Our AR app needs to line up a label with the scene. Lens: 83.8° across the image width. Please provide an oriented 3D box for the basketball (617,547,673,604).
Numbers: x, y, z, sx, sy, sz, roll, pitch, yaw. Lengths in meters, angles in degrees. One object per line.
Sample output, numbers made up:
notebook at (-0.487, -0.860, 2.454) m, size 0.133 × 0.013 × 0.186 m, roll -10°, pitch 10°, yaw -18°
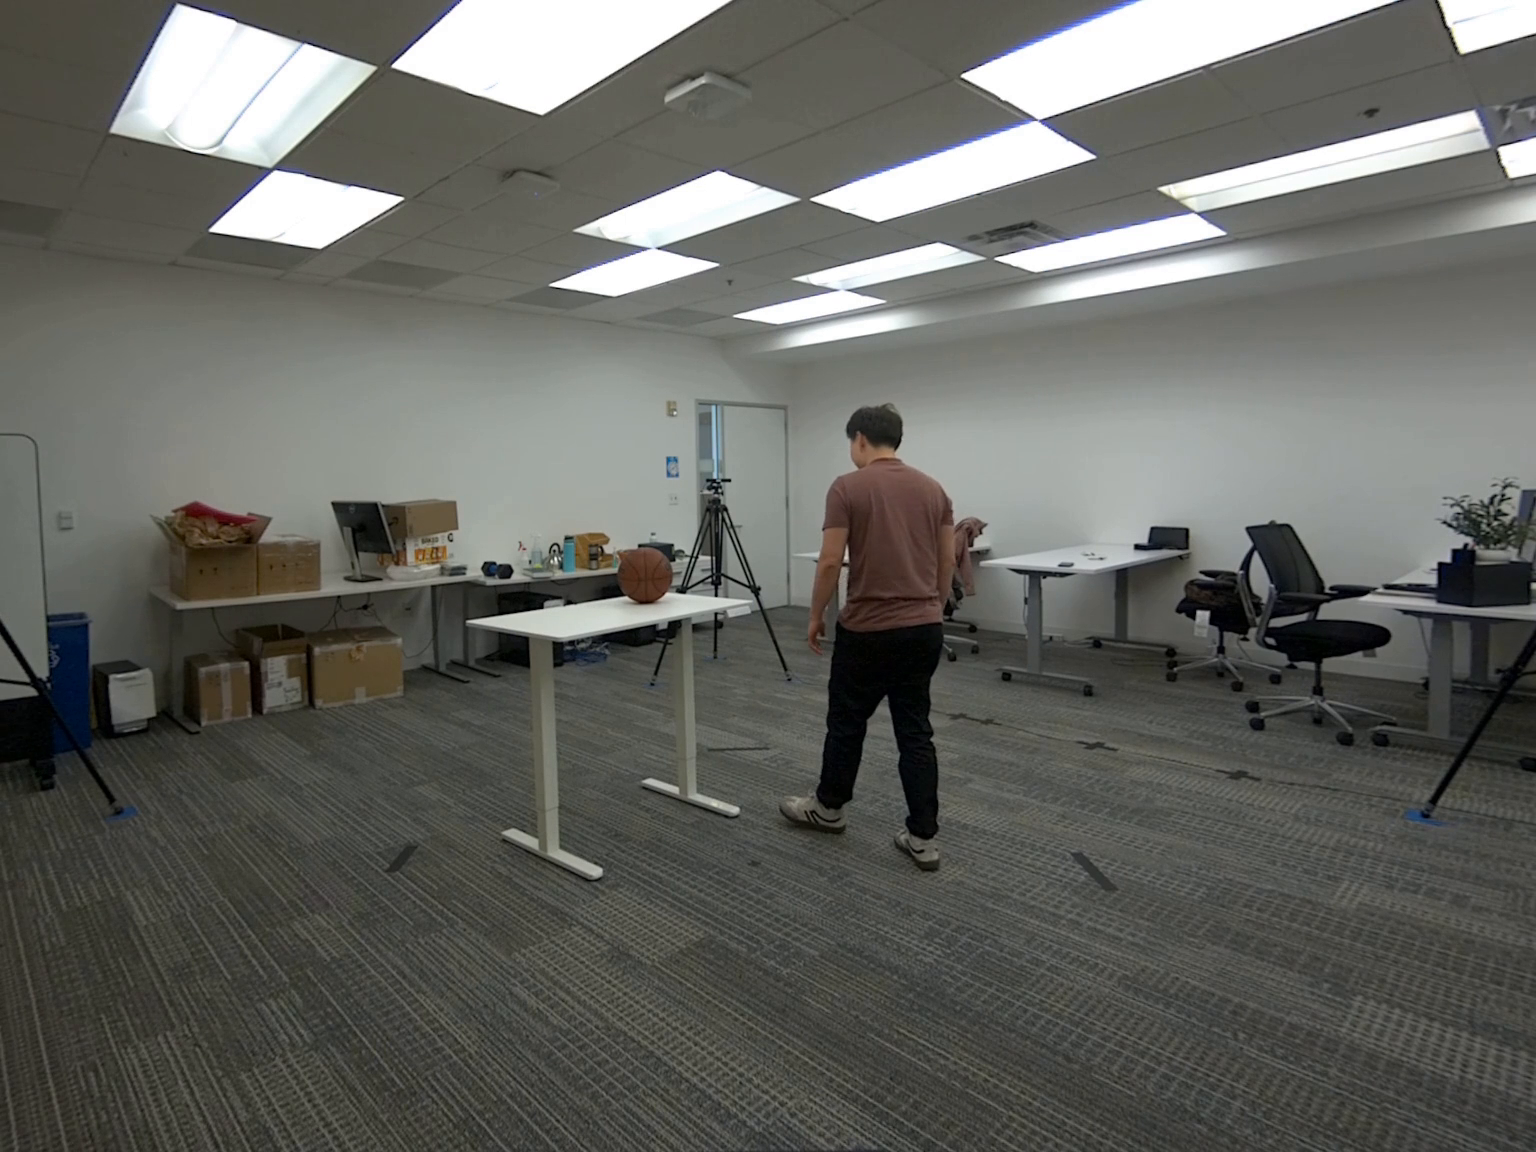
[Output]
basketball at (-0.520, -0.003, 3.631) m, size 0.236 × 0.235 × 0.237 m, roll -1°, pitch 5°, yaw -2°
